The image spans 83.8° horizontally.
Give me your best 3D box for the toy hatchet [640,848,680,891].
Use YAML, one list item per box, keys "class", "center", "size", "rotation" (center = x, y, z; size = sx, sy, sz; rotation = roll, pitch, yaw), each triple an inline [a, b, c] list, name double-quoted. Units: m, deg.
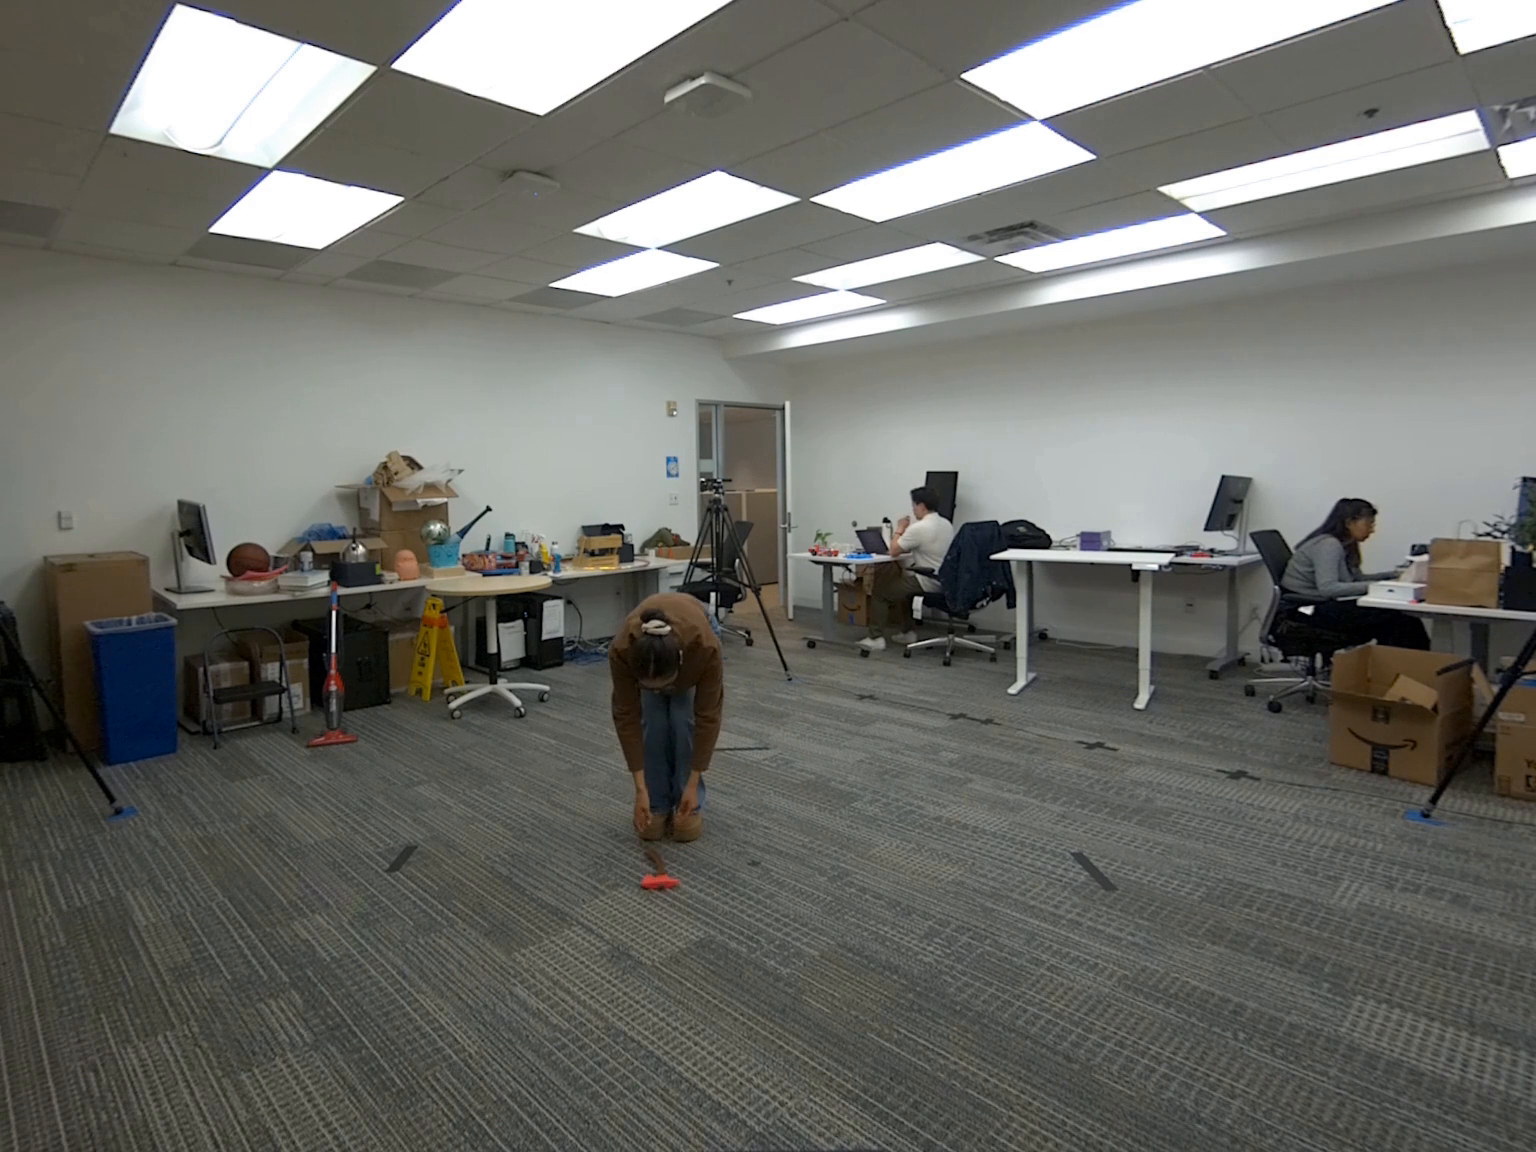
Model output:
- class: "toy hatchet"
  center: [-0.416, 1.046, 3.029]
  size: [0.128, 0.029, 0.277]
  rotation: [-4, 8, -26]
